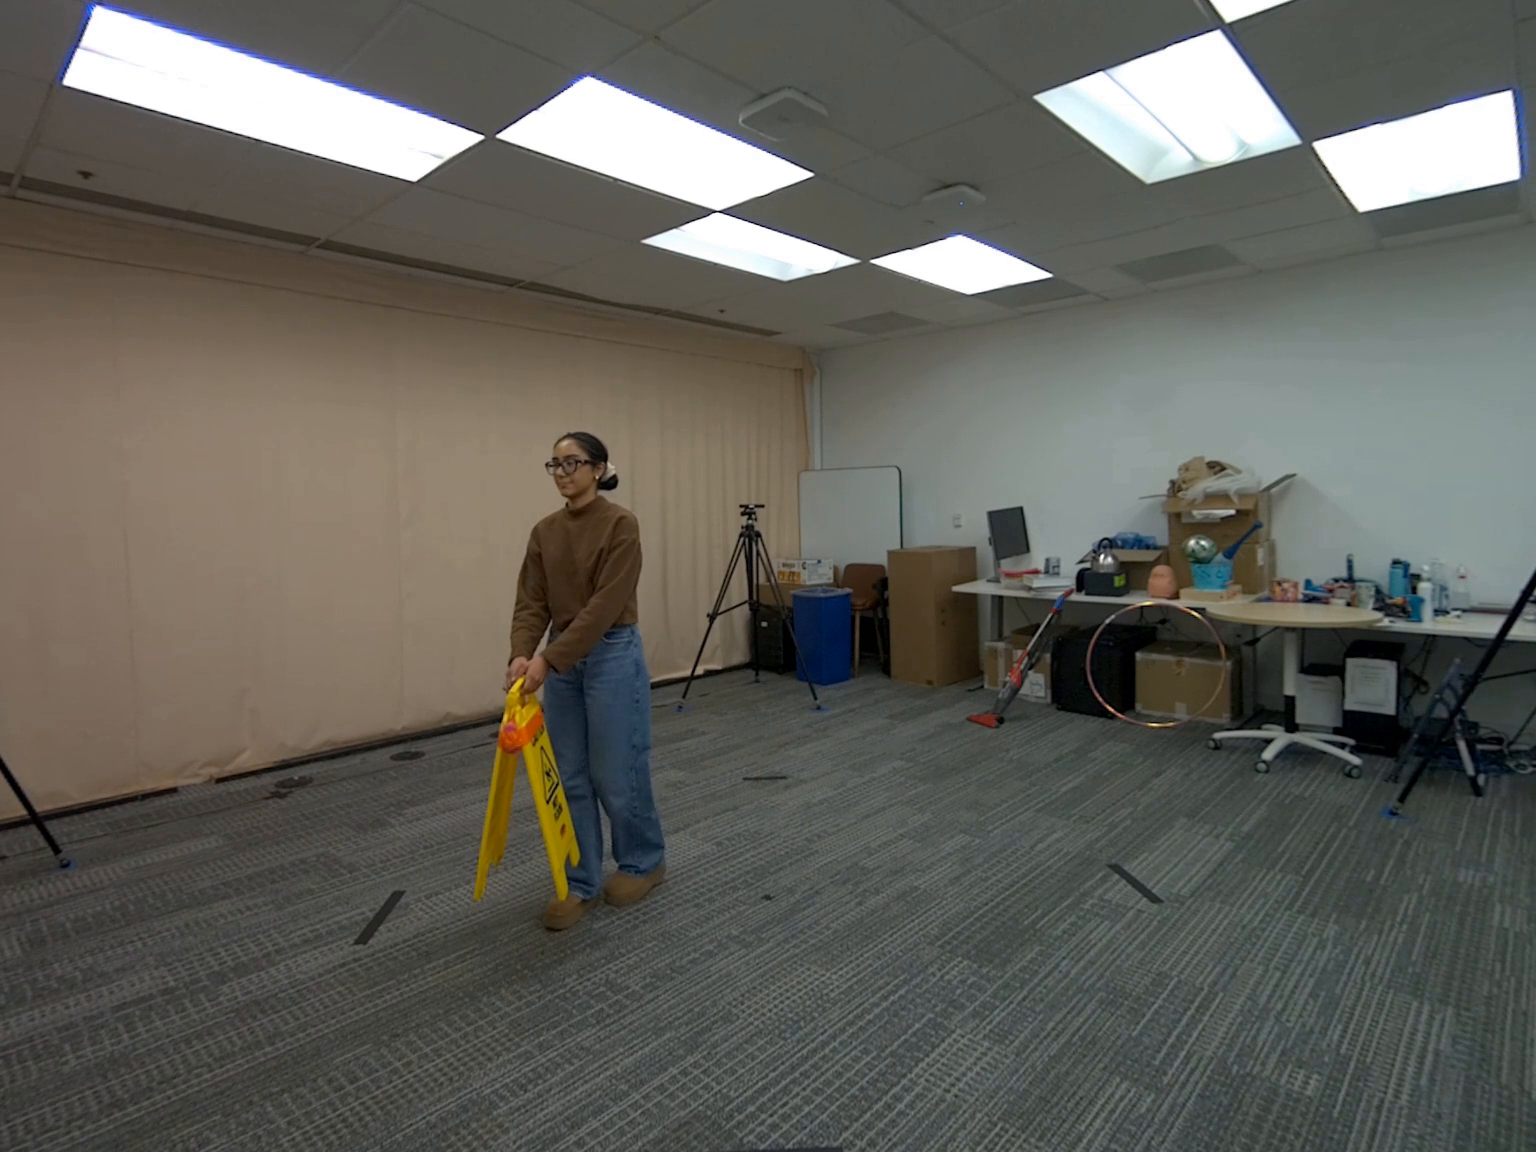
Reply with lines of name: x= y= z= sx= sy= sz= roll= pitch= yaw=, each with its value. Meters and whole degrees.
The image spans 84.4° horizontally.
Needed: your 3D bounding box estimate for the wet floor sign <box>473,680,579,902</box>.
wet floor sign: x=-0.755 y=0.640 z=2.614 sx=0.289 sy=0.643 sz=0.284 roll=0 pitch=7 yaw=-3
